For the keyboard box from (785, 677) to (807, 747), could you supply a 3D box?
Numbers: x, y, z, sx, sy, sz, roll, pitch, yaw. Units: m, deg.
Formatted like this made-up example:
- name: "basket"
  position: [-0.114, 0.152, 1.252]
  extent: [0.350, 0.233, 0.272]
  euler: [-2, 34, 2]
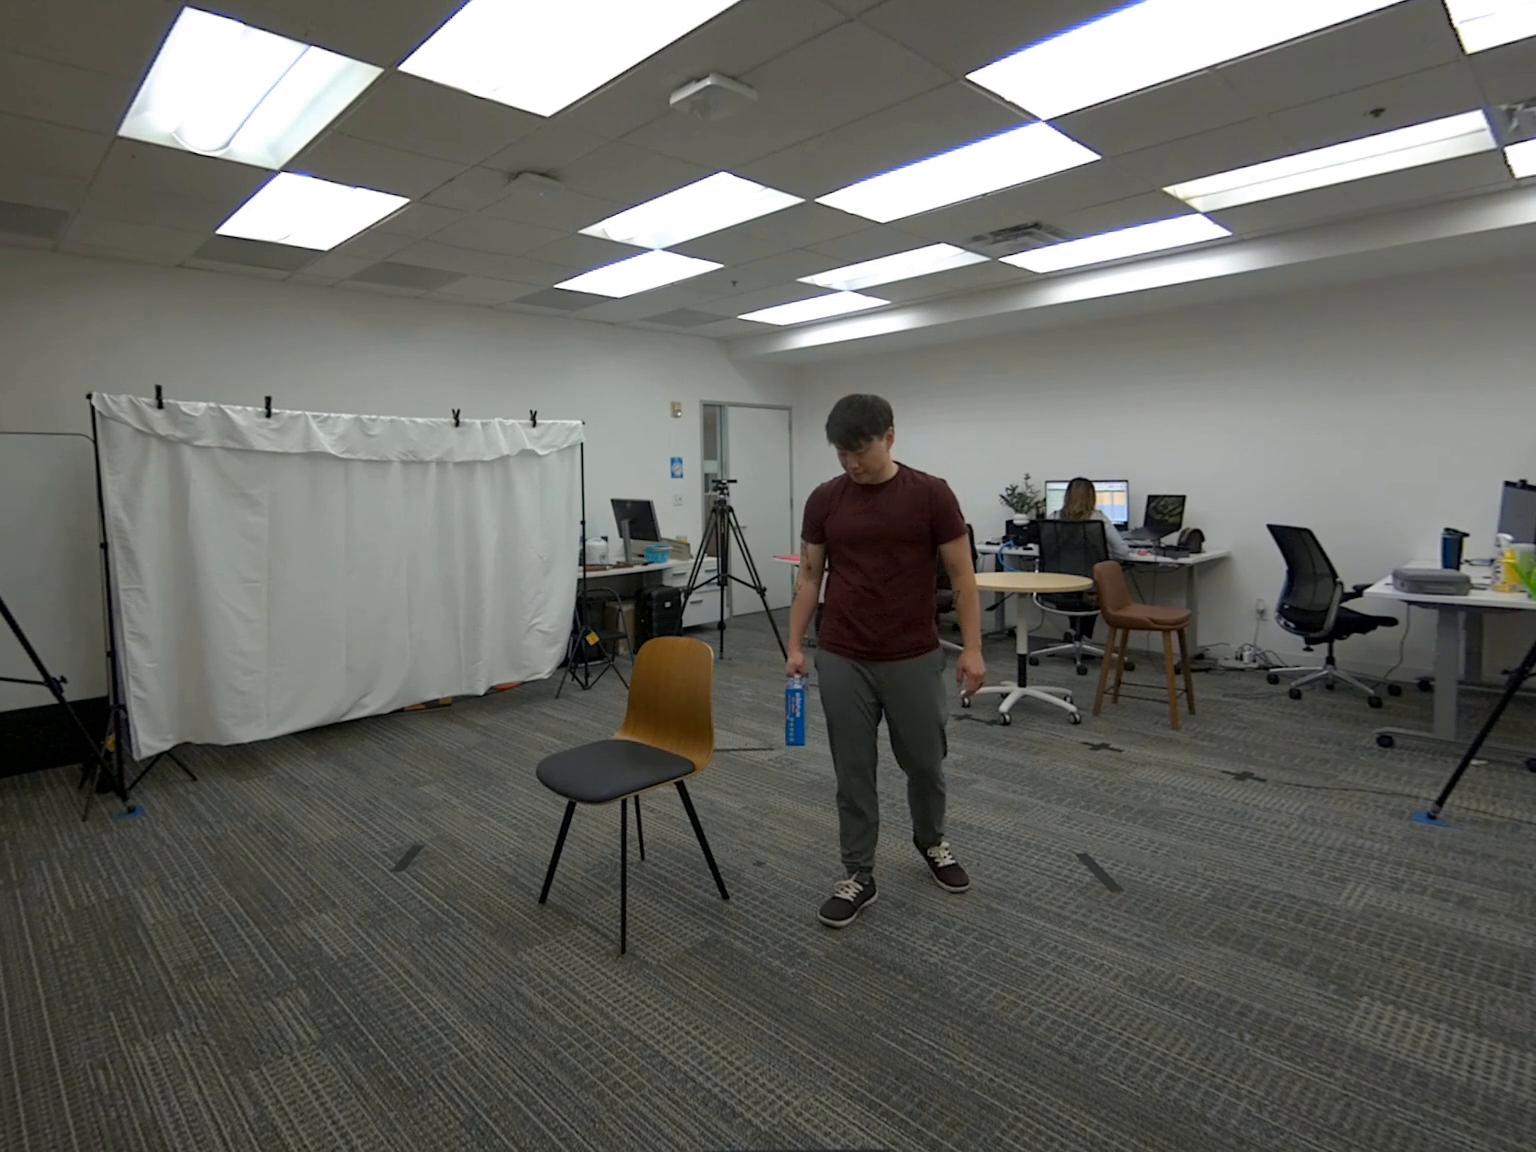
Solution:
- name: "keyboard box"
  position: [0.099, 0.424, 2.789]
  extent: [0.059, 0.176, 0.433]
  euler: [-1, -2, 4]
